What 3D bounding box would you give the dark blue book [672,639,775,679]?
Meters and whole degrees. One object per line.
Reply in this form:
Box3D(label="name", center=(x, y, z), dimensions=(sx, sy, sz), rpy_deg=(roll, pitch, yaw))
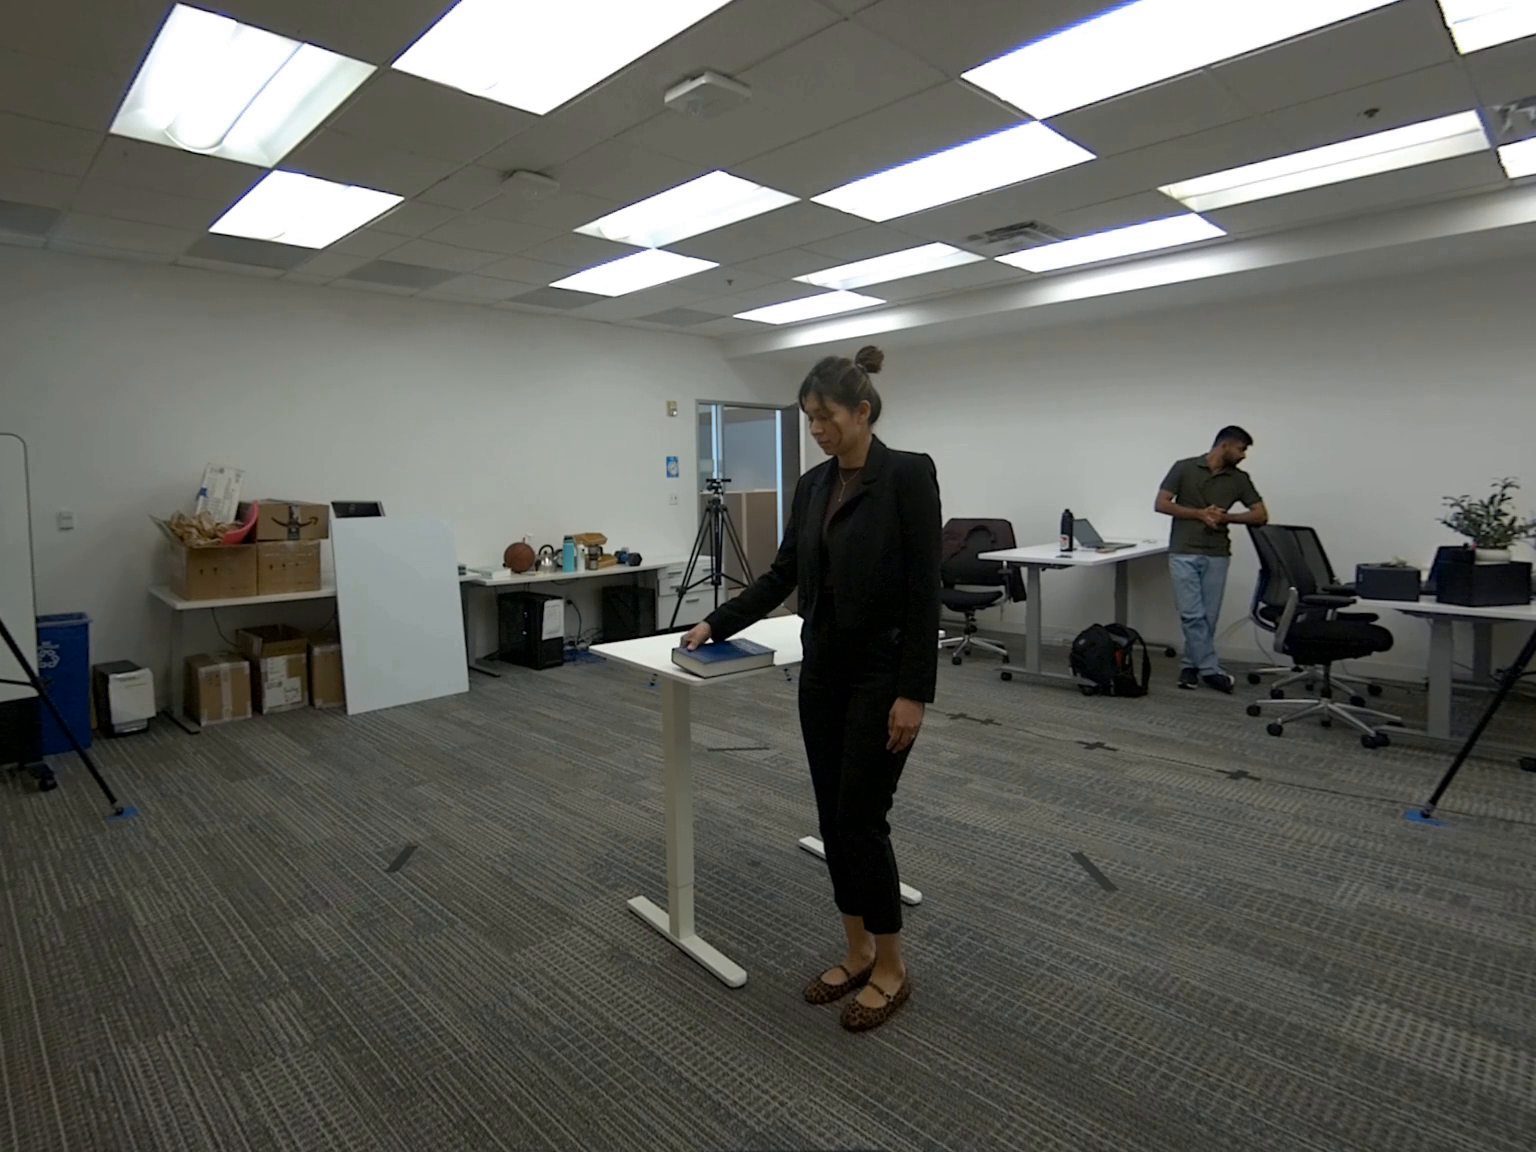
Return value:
Box3D(label="dark blue book", center=(-0.117, 0.222, 2.366), dimensions=(0.239, 0.045, 0.169), rpy_deg=(-9, 15, -36))
